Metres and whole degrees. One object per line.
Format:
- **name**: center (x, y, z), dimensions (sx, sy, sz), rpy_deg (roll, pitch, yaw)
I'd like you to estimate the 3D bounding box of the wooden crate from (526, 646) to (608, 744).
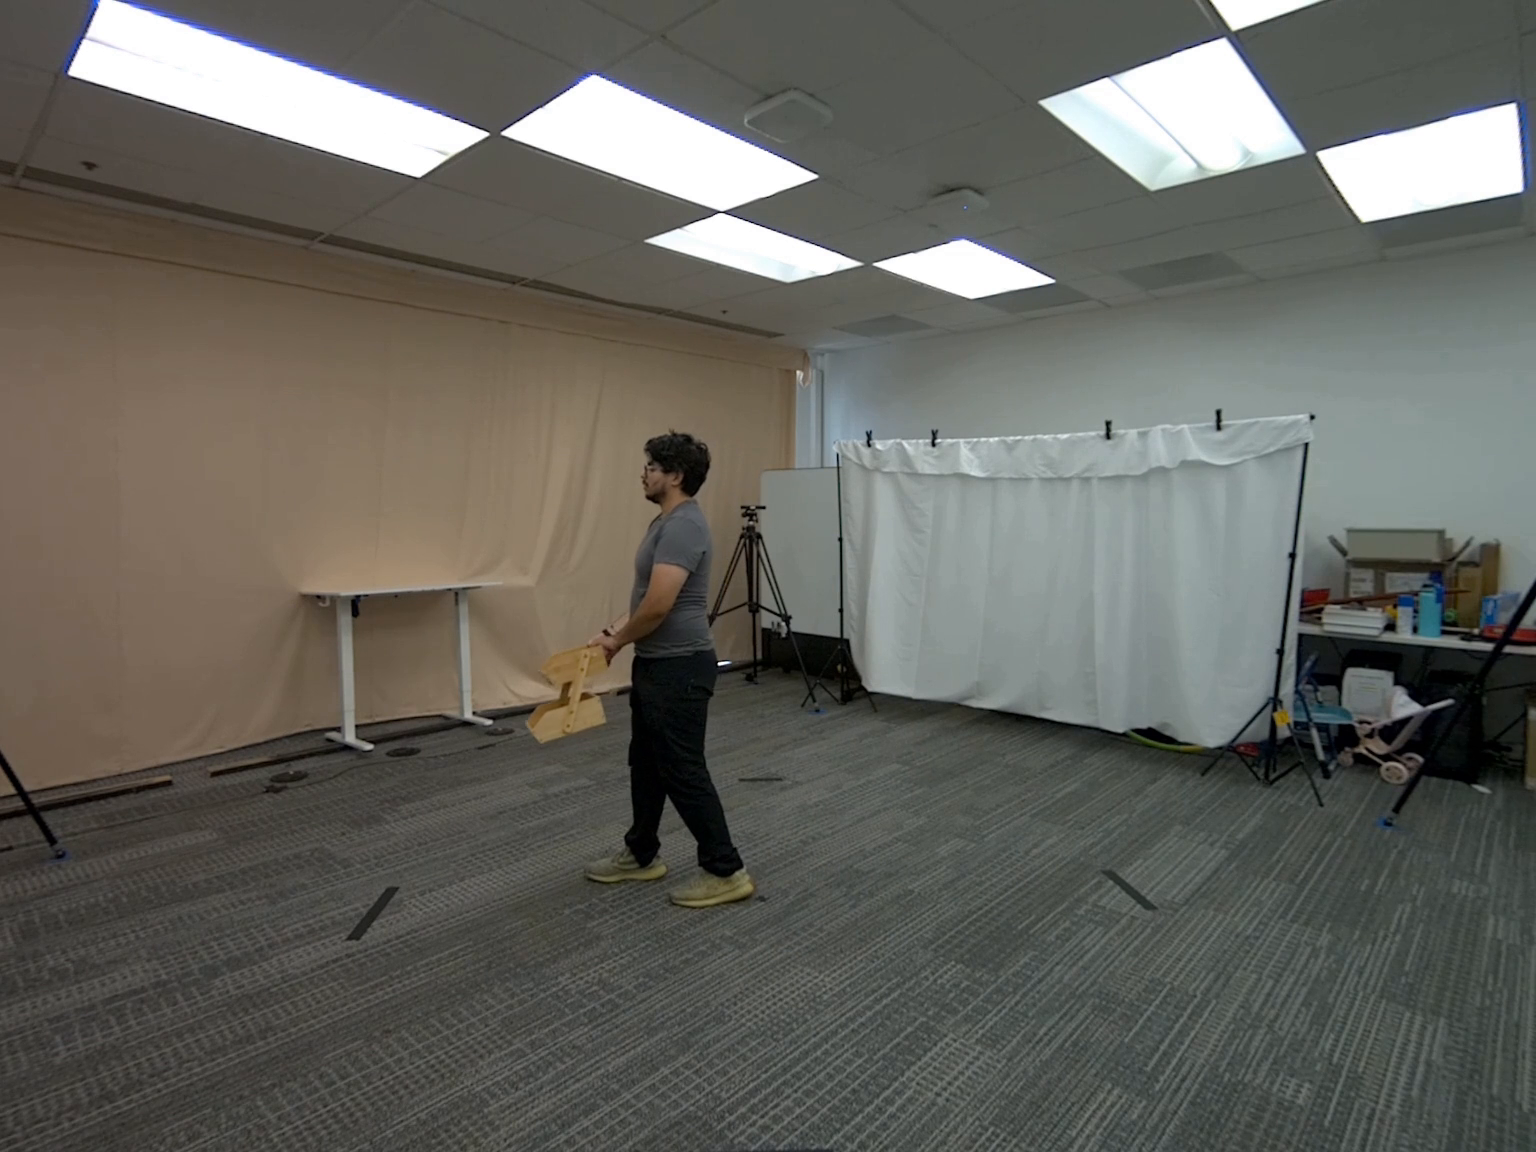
- **wooden crate**: center (-0.732, 0.410, 2.998), dimensions (0.297, 0.273, 0.330), rpy_deg (-15, 1, -19)
